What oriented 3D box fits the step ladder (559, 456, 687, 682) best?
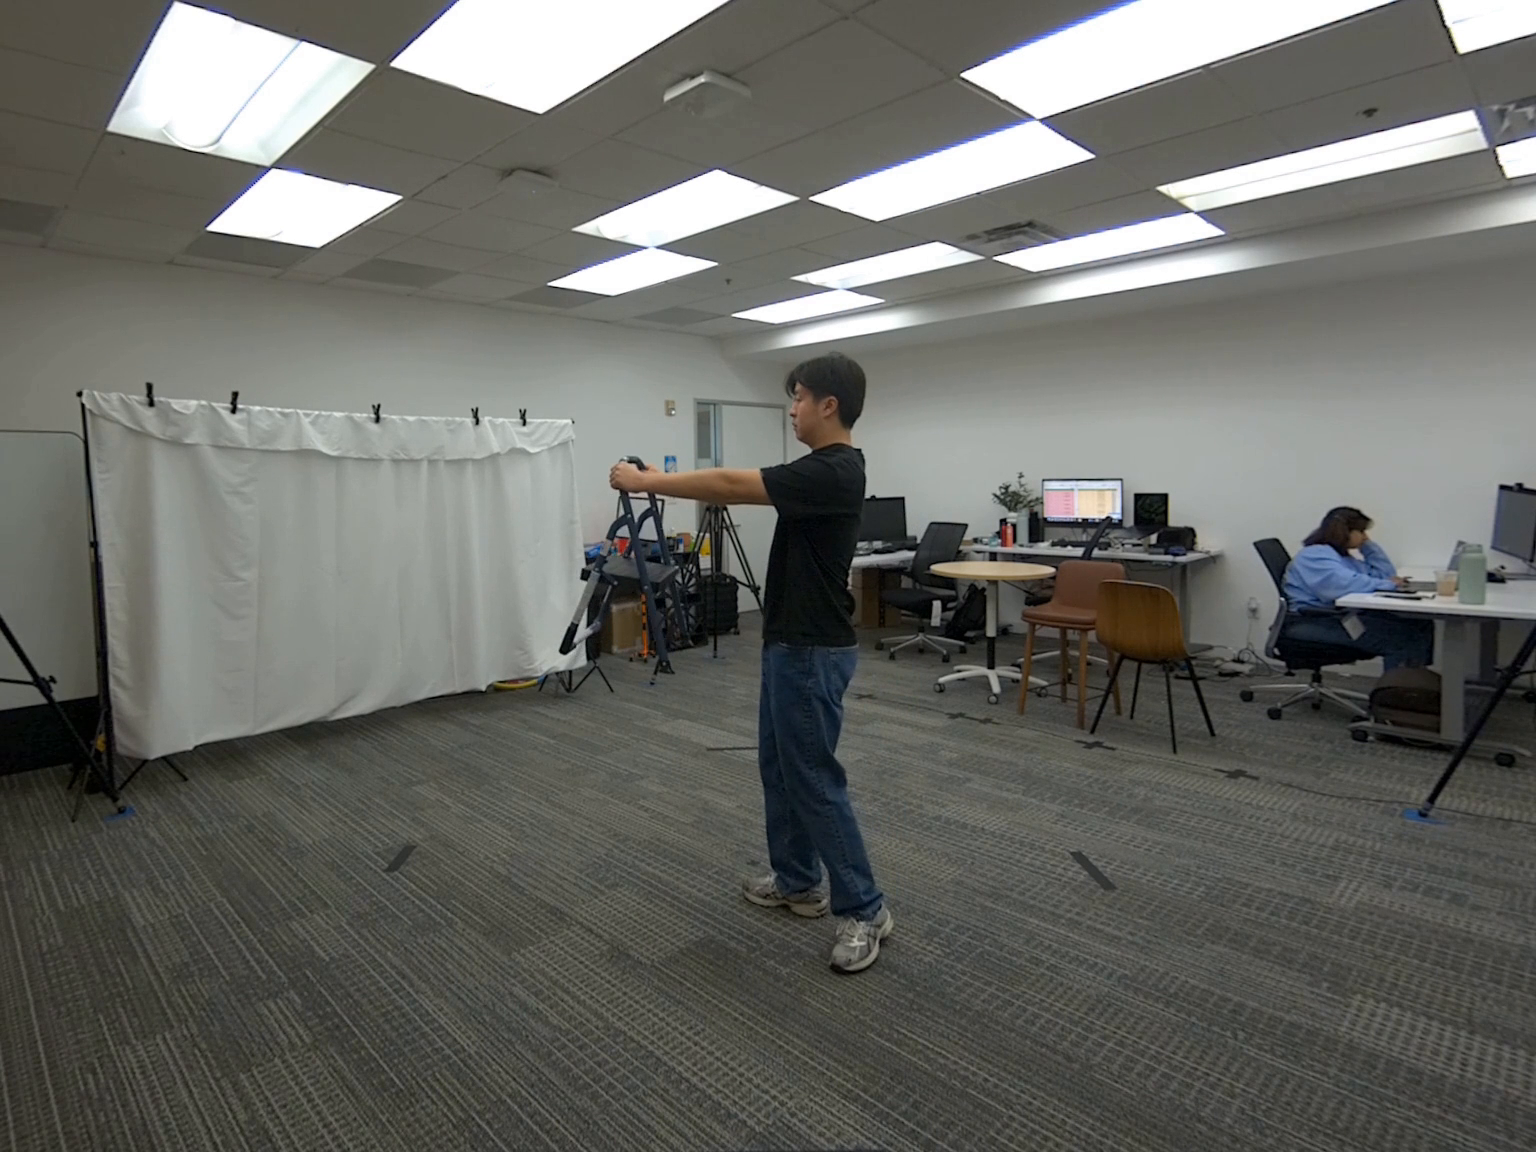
[{"bbox_3d":[-0.402,-0.064,2.698,0.351,0.603,0.430,8,7,4],"label":"step ladder"}]
